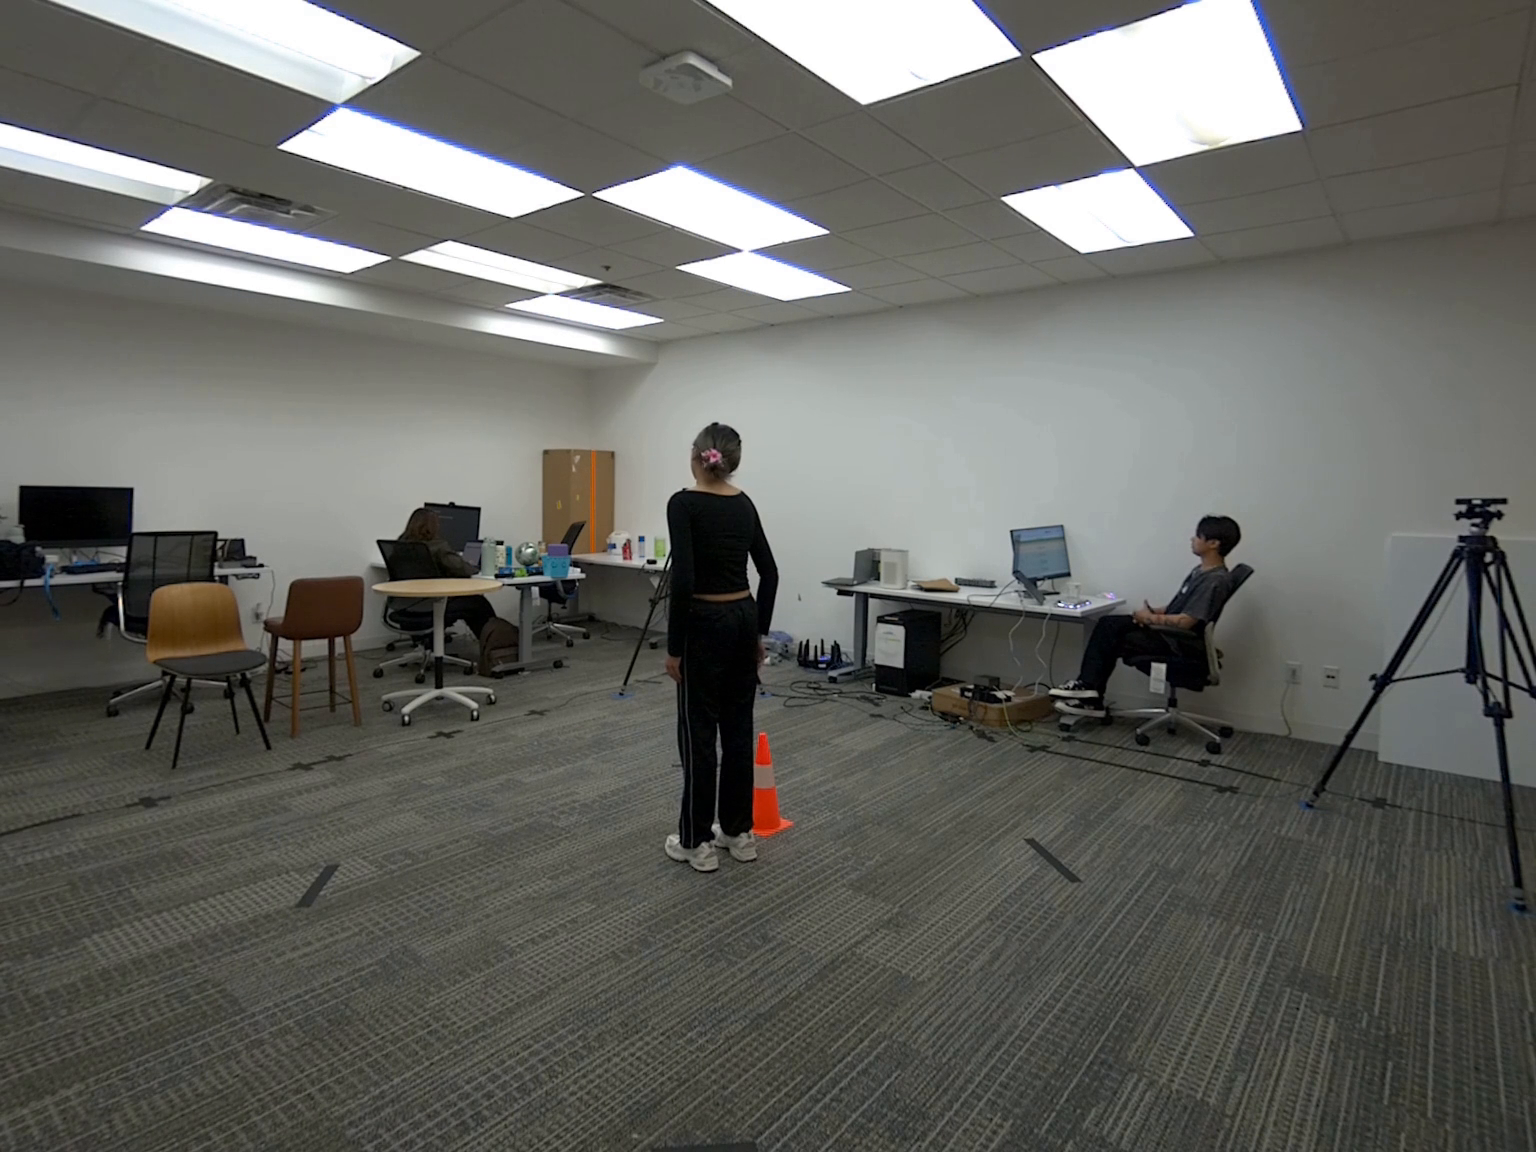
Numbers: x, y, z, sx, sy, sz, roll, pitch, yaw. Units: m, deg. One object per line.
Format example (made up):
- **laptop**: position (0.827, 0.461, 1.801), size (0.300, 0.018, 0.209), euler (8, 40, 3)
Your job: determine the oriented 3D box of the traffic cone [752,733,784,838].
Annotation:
- **traffic cone**: position (-0.033, 0.843, 3.545), size (0.197, 0.383, 0.212), euler (0, 4, -38)
